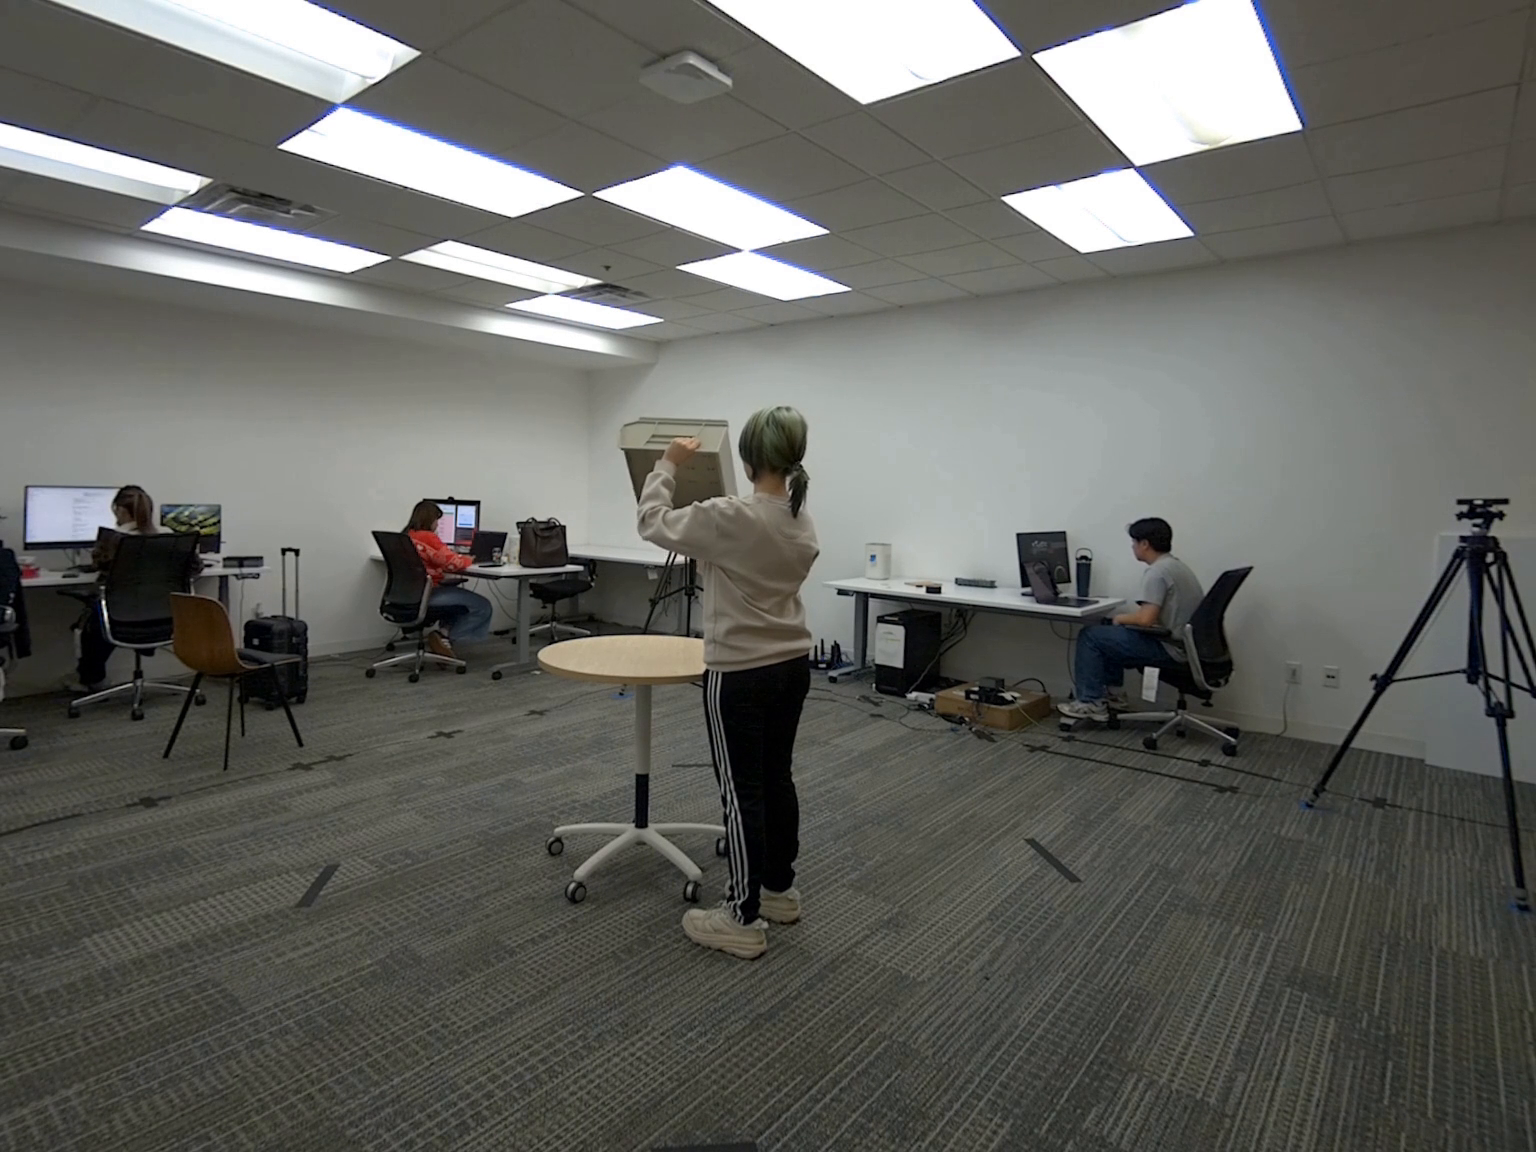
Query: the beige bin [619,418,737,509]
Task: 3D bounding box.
[{"bbox_3d":[-0.310,-0.316,2.926,0.384,0.408,0.192,5,43,14],"label":"beige bin"}]
